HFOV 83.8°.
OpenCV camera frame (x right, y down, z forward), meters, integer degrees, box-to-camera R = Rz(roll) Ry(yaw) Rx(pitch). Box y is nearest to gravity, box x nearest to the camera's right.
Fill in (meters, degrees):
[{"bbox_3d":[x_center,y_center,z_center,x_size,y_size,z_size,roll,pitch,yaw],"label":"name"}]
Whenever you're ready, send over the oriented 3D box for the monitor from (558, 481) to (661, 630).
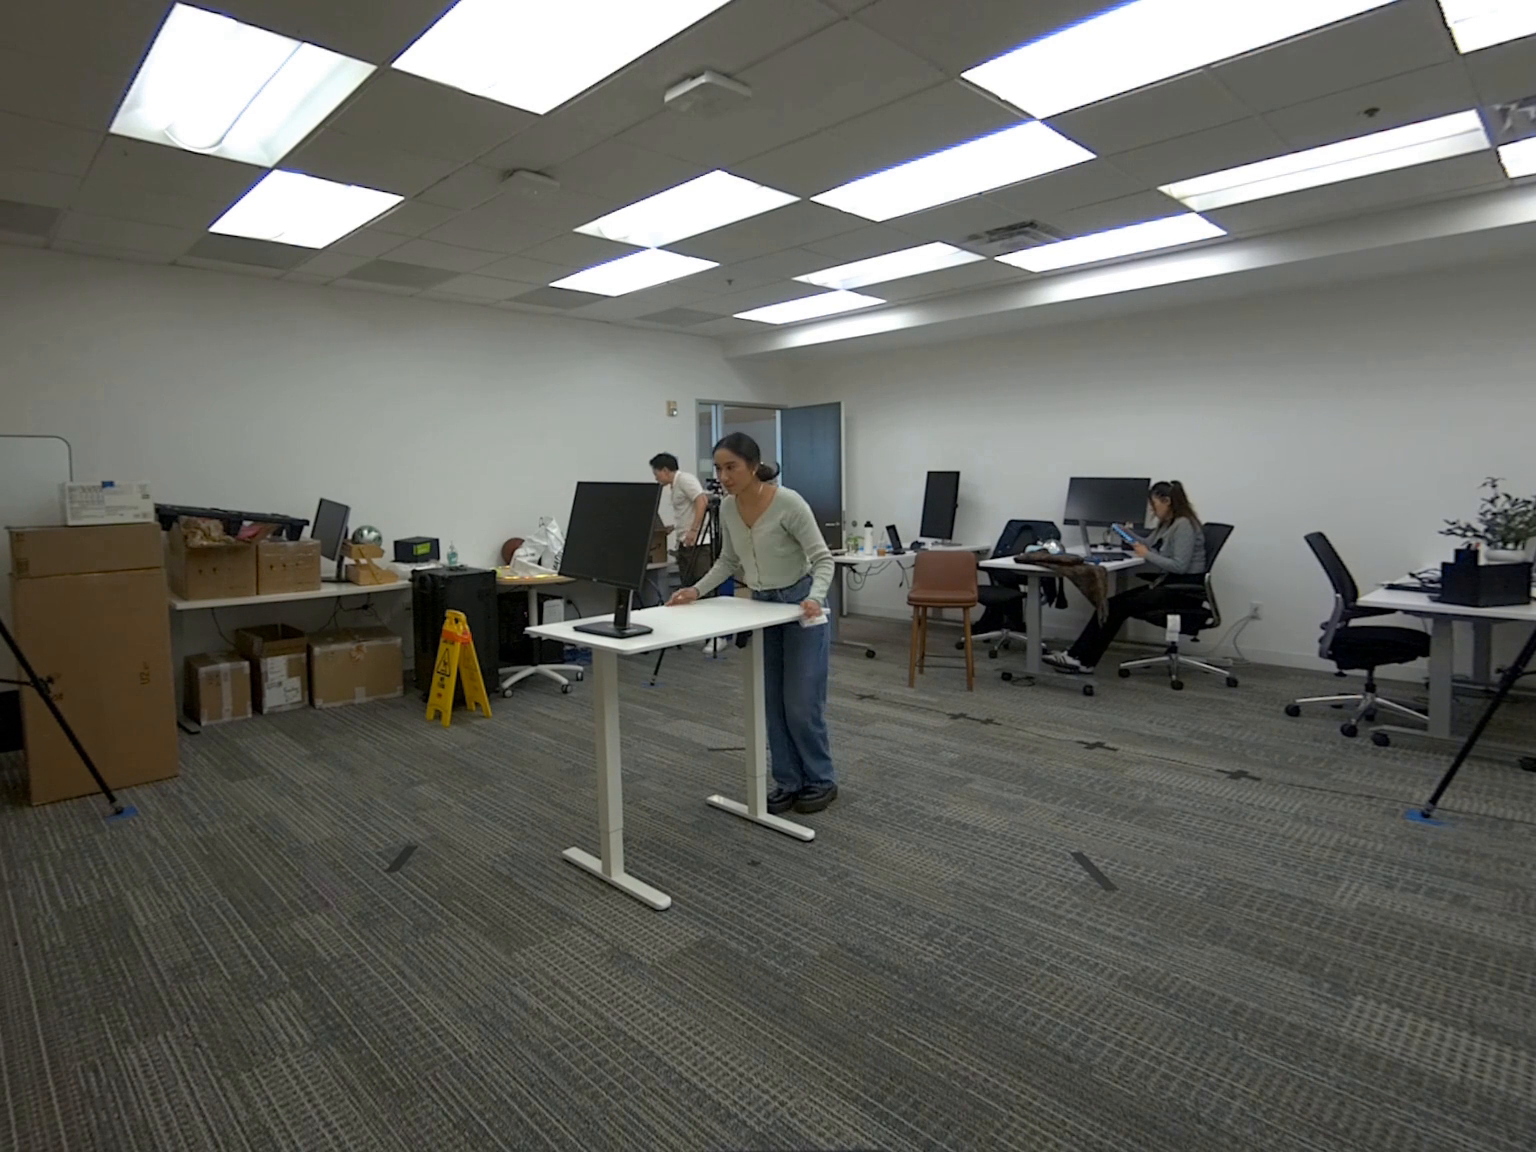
[{"bbox_3d":[-0.530,-0.061,2.944,0.182,0.521,0.556,-2,5,-43],"label":"monitor"}]
